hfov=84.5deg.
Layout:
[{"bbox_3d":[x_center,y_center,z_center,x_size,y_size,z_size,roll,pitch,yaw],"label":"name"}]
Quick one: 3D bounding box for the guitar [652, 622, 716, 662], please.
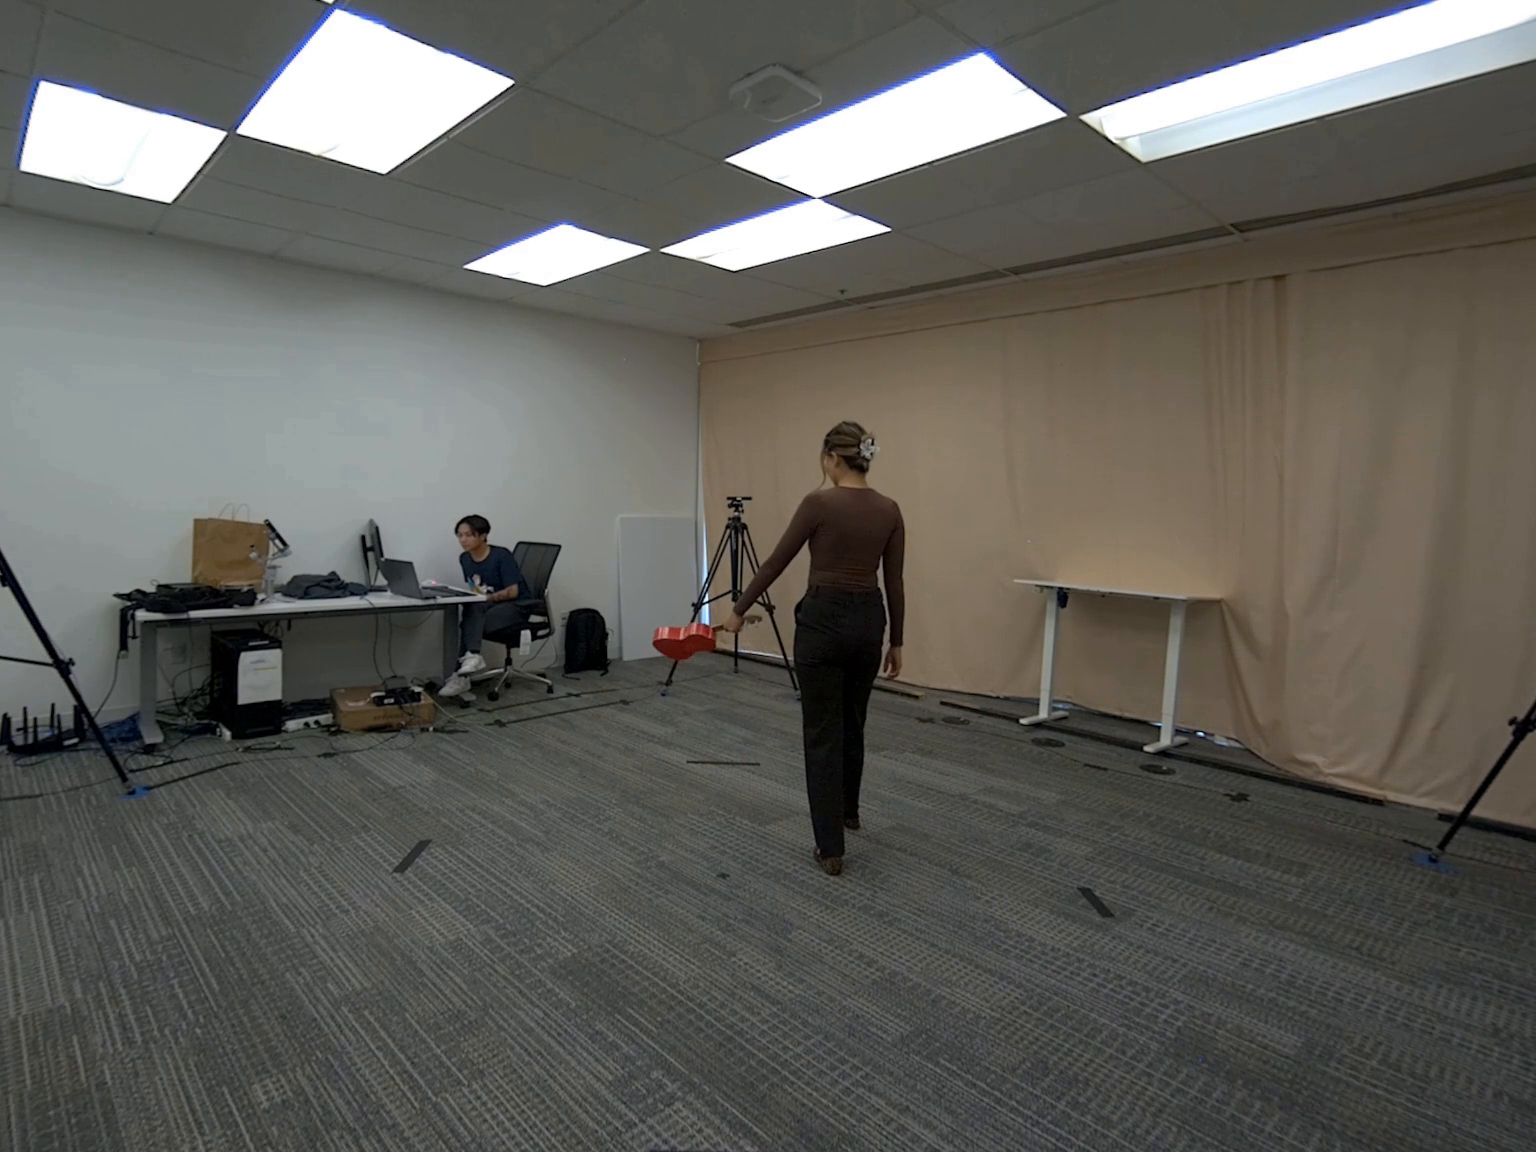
[{"bbox_3d":[-0.263,0.238,3.486,0.504,0.072,0.187,-22,-44,35],"label":"guitar"}]
